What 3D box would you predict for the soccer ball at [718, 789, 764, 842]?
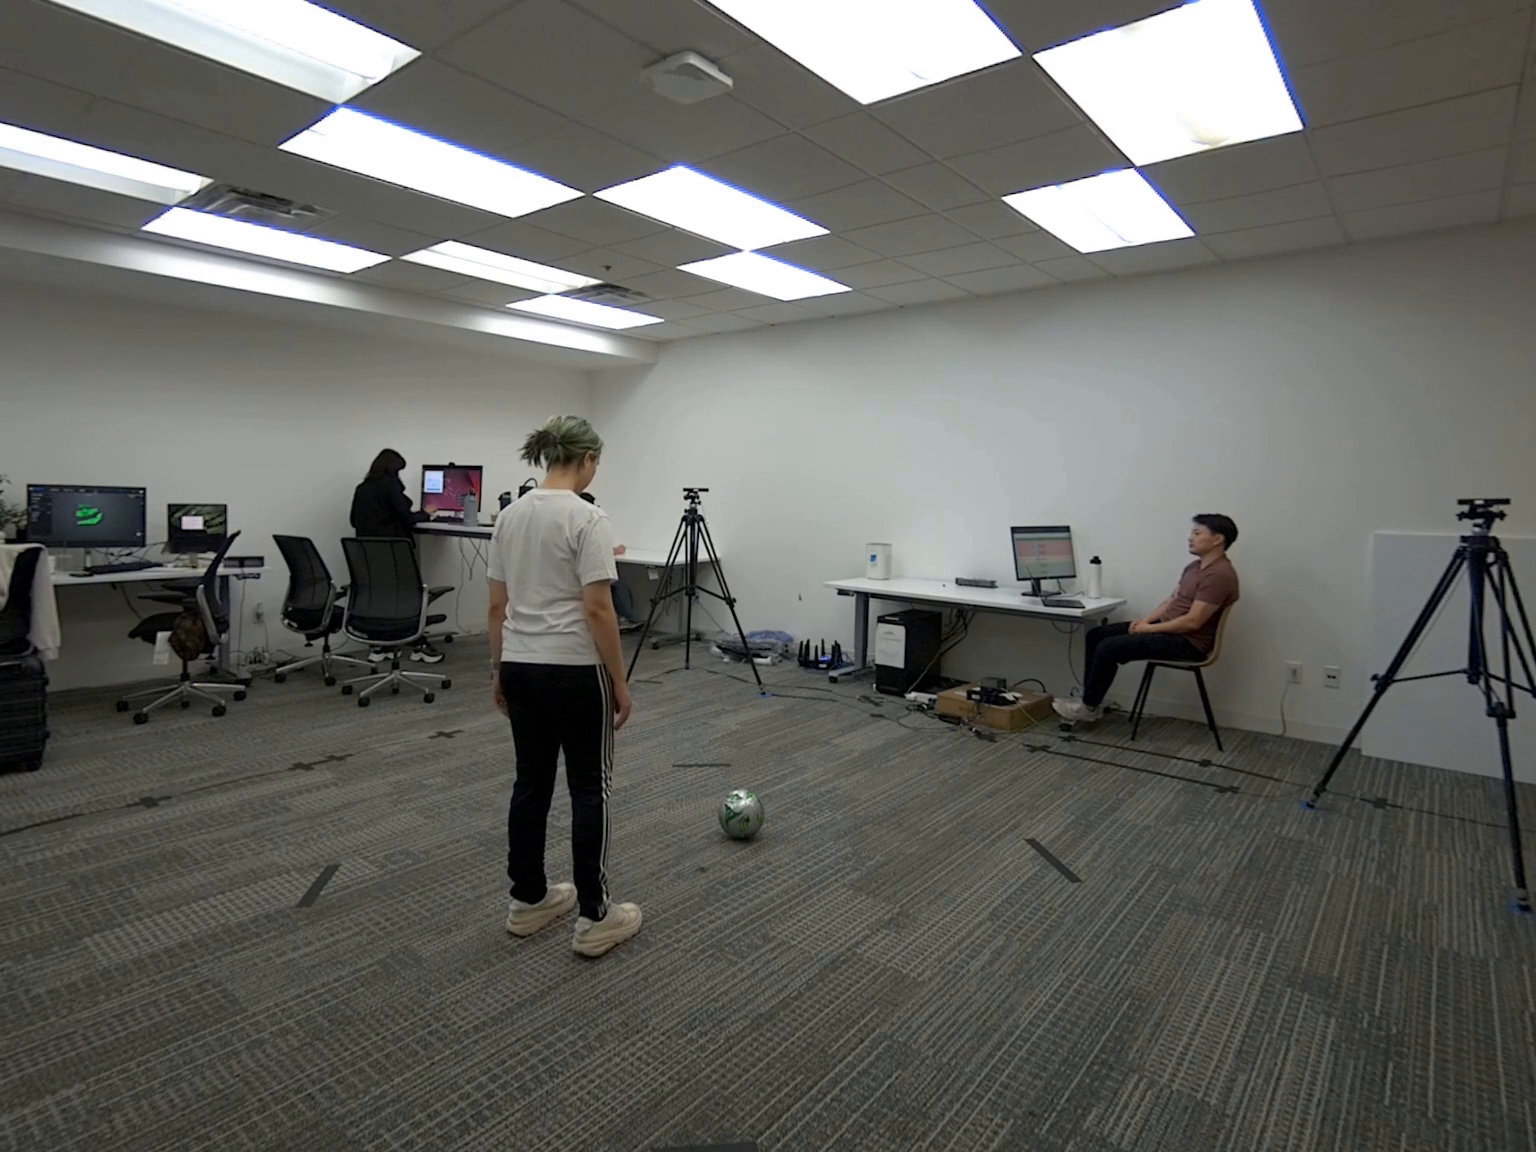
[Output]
[{"bbox_3d":[-0.113,0.949,3.400,0.187,0.187,0.188,1,4,-2],"label":"soccer ball"}]
